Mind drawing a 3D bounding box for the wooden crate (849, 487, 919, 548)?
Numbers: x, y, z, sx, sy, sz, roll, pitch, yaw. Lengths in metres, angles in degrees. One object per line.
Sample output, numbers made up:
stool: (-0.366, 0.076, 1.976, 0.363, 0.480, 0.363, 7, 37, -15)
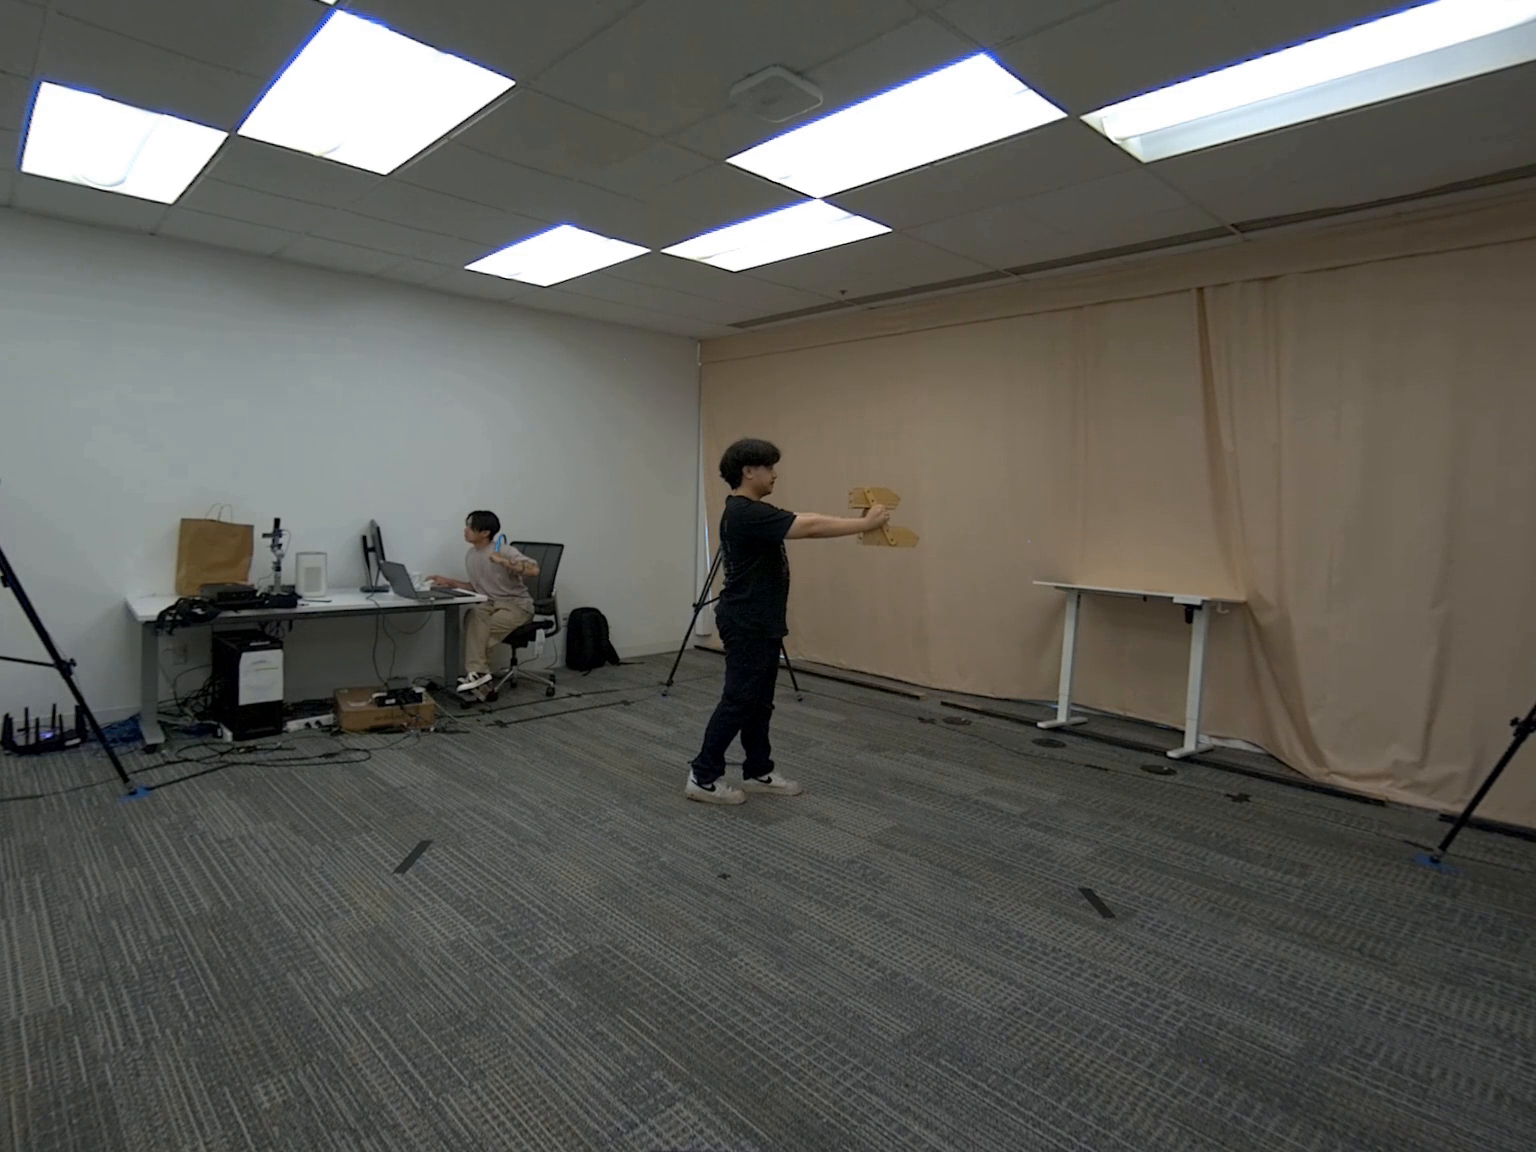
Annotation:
wooden crate: (0.528, -0.280, 3.875, 0.303, 0.273, 0.323, 1, 2, 5)
